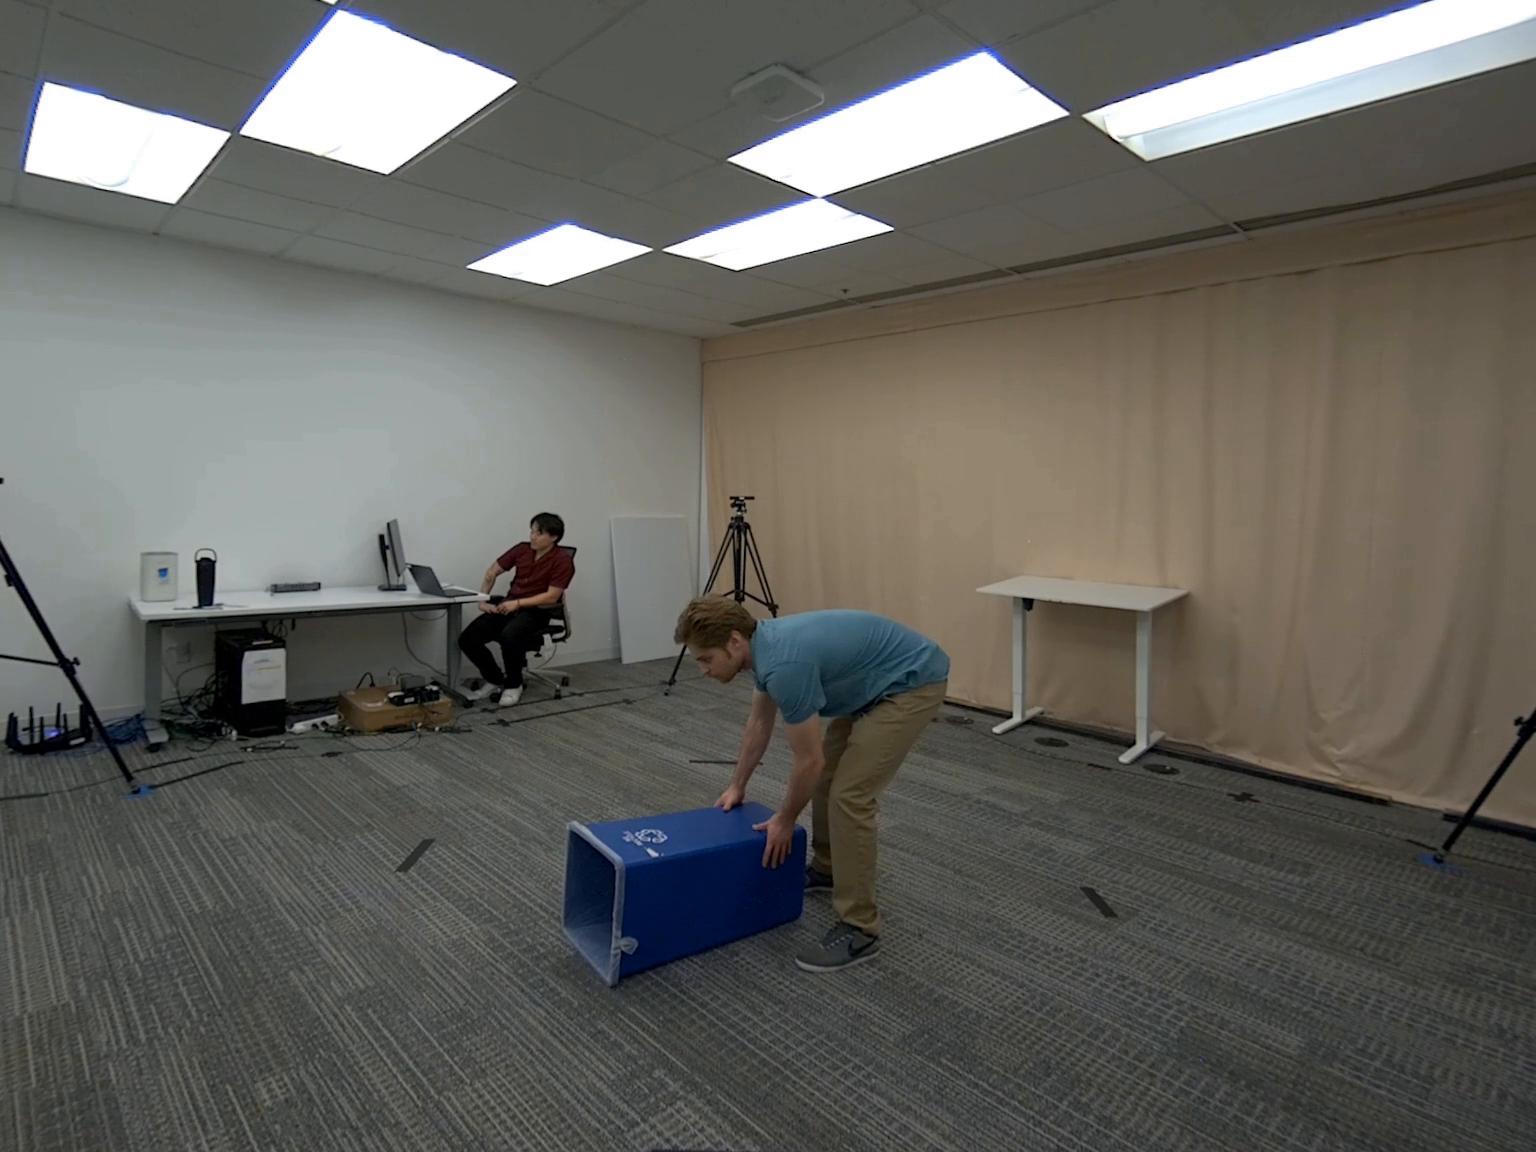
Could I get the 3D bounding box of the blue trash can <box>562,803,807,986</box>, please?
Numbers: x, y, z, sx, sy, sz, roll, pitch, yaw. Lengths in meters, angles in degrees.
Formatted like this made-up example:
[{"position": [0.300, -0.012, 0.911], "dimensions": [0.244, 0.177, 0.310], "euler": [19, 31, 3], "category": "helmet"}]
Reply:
[{"position": [-0.264, 0.976, 2.698], "dimensions": [0.697, 0.377, 0.383], "euler": [2, 4, -36], "category": "blue trash can"}]
